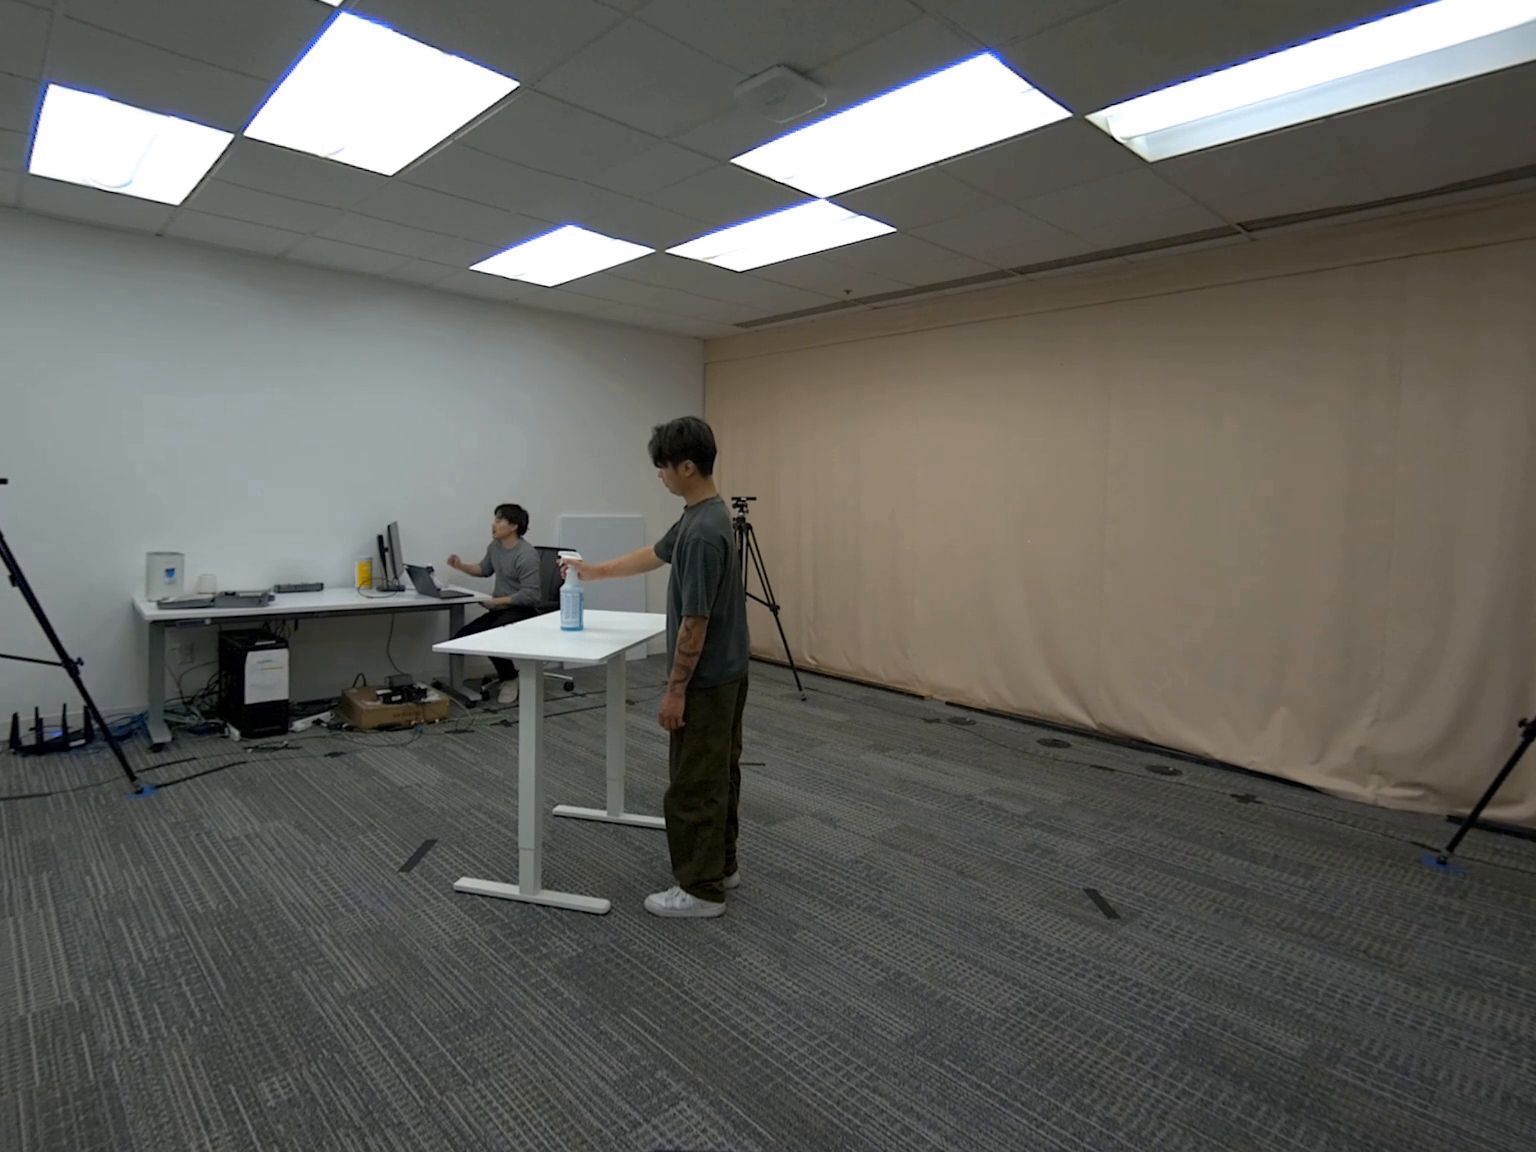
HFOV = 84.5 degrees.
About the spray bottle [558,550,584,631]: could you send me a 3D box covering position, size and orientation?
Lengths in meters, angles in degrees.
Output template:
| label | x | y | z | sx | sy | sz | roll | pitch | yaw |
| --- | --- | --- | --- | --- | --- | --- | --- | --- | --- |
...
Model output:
| label | x | y | z | sx | sy | sz | roll | pitch | yaw |
| --- | --- | --- | --- | --- | --- | --- | --- | --- | --- |
| spray bottle | -0.752 | 0.061 | 3.178 | 0.092 | 0.296 | 0.085 | 2 | 5 | 29 |
